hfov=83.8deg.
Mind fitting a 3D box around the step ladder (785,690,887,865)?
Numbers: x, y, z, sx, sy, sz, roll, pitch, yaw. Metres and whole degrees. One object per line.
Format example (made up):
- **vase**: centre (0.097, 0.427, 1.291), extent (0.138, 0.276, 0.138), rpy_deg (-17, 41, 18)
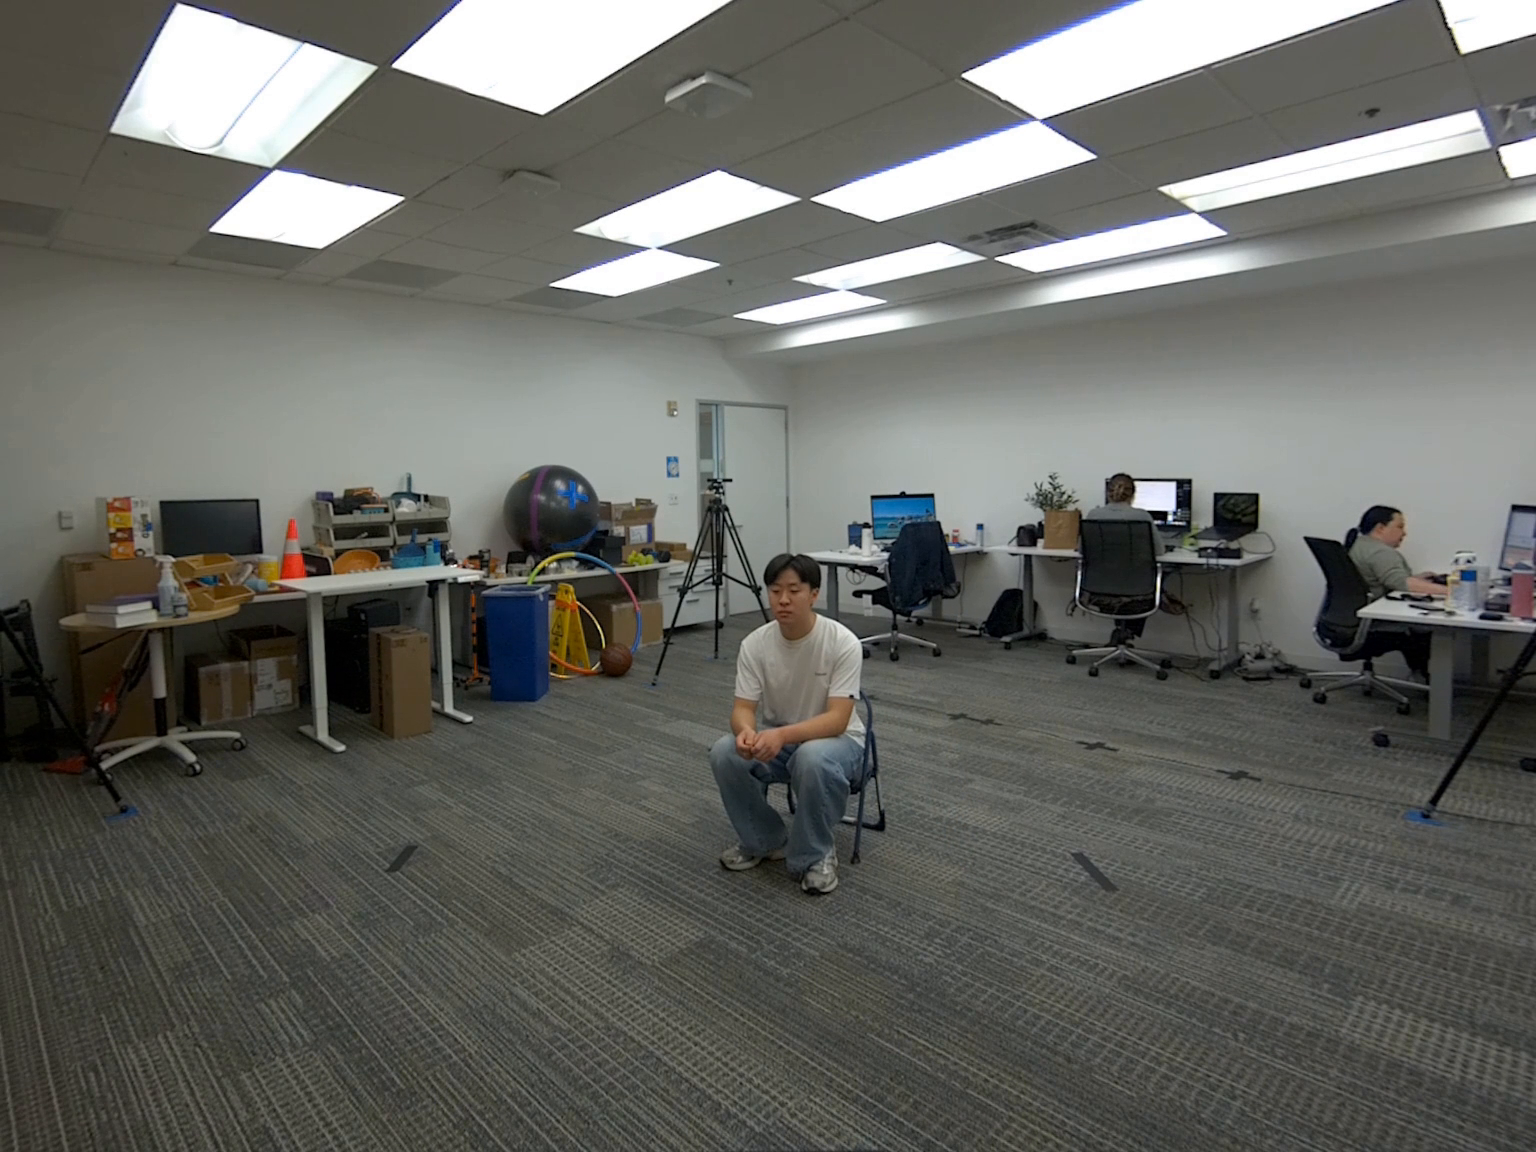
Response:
- **step ladder**: centre (0.214, 0.717, 3.327), extent (0.442, 0.604, 0.342), rpy_deg (2, 5, 28)
